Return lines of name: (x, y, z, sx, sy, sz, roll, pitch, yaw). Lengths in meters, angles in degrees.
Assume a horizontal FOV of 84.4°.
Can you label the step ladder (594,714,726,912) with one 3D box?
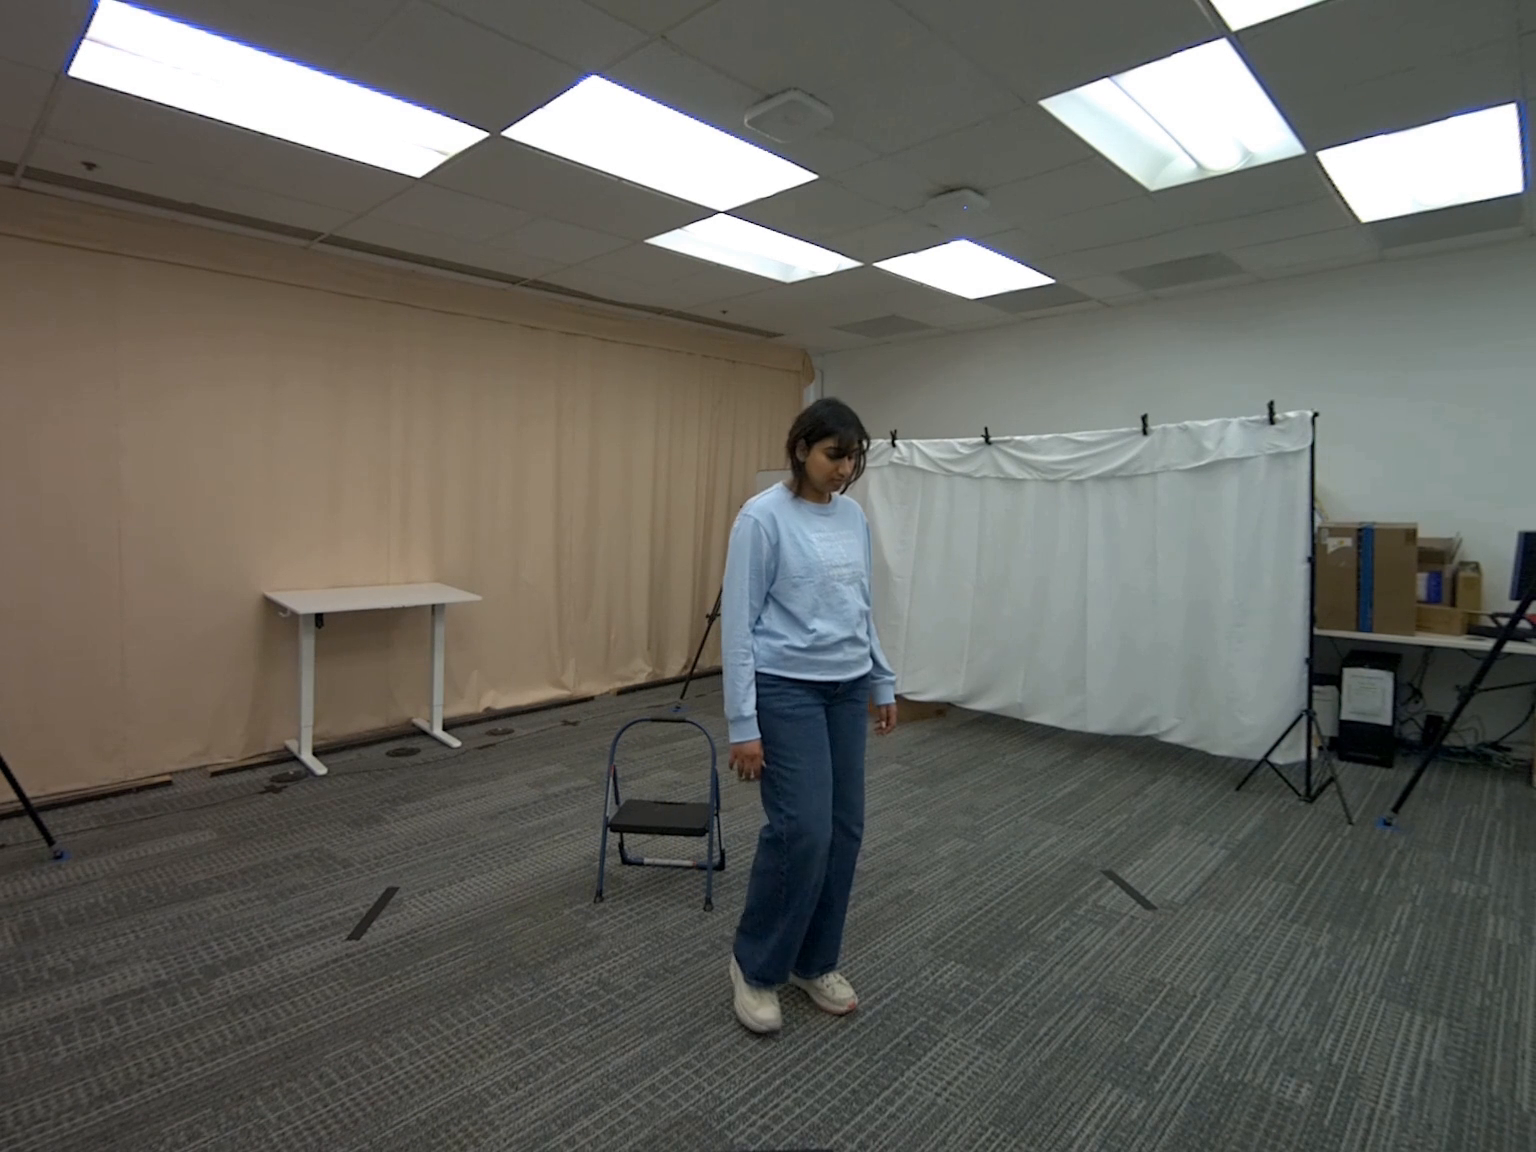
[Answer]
step ladder: (-0.388, 0.835, 3.089, 0.435, 0.605, 0.346, 0, 3, 8)
